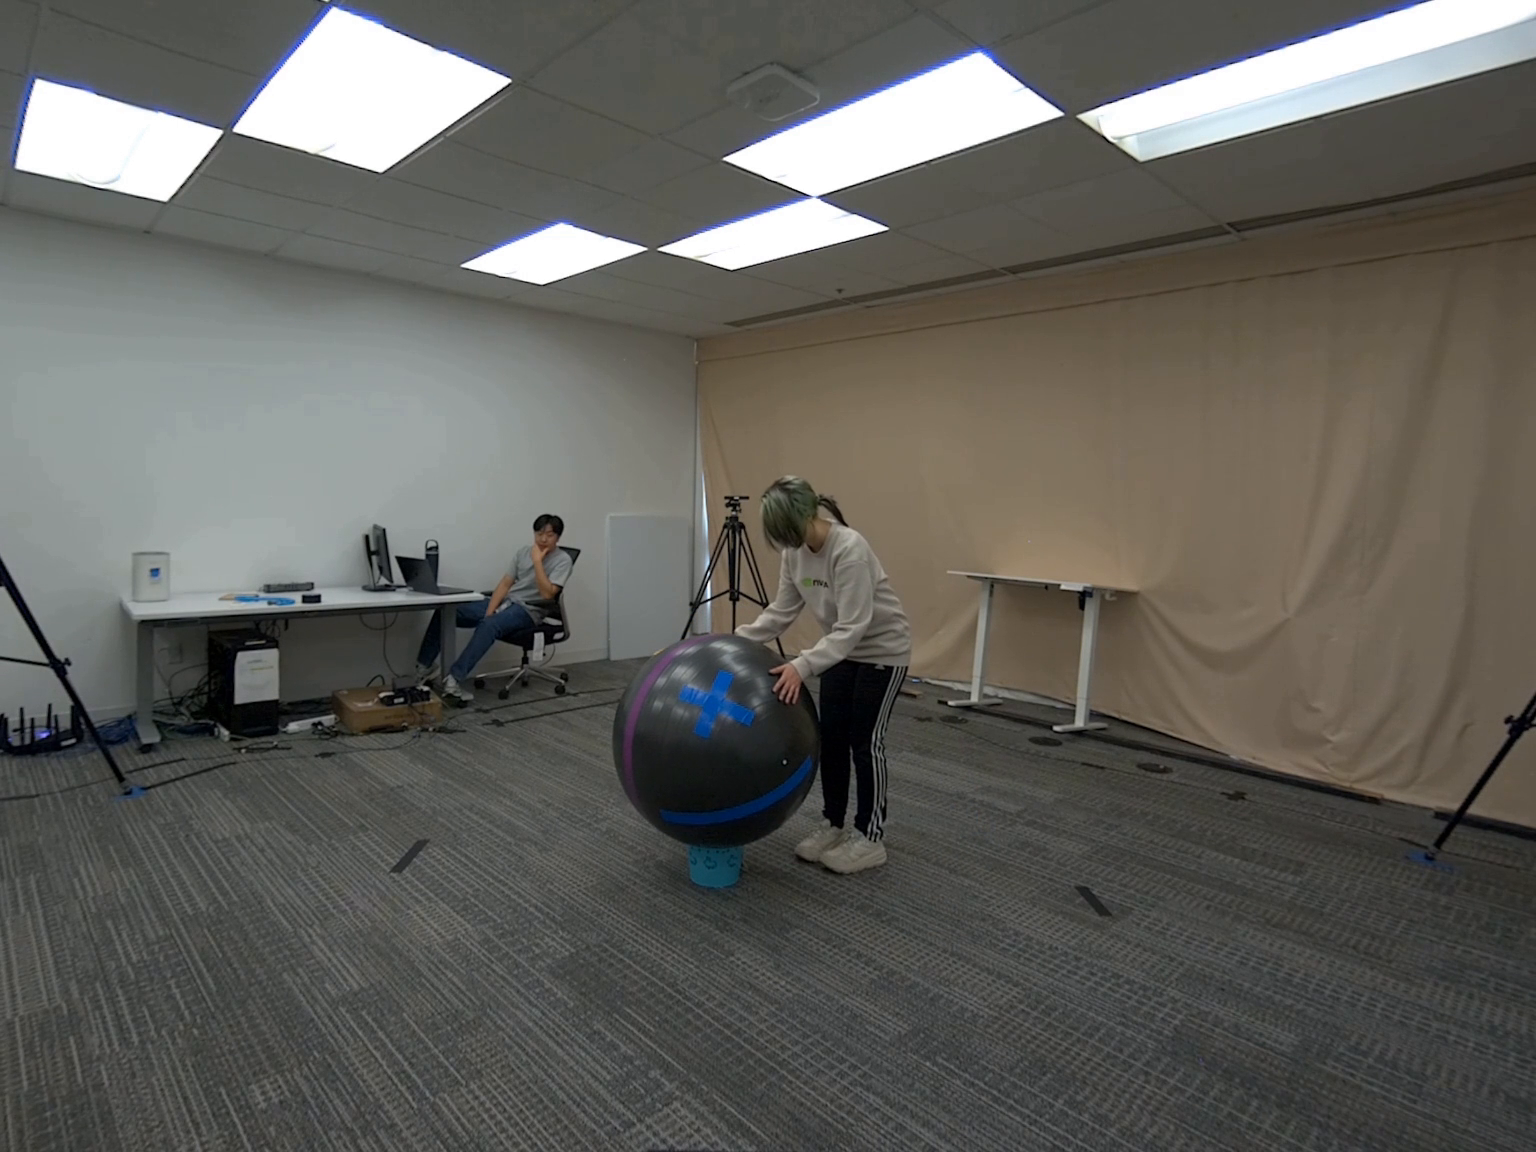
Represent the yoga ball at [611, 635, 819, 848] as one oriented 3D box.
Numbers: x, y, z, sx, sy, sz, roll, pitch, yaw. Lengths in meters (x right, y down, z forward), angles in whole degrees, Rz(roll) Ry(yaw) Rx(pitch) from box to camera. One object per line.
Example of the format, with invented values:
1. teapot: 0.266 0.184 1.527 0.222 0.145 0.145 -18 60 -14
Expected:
1. yoga ball: -0.195 0.596 3.070 0.757 0.756 0.761 1 4 -1
